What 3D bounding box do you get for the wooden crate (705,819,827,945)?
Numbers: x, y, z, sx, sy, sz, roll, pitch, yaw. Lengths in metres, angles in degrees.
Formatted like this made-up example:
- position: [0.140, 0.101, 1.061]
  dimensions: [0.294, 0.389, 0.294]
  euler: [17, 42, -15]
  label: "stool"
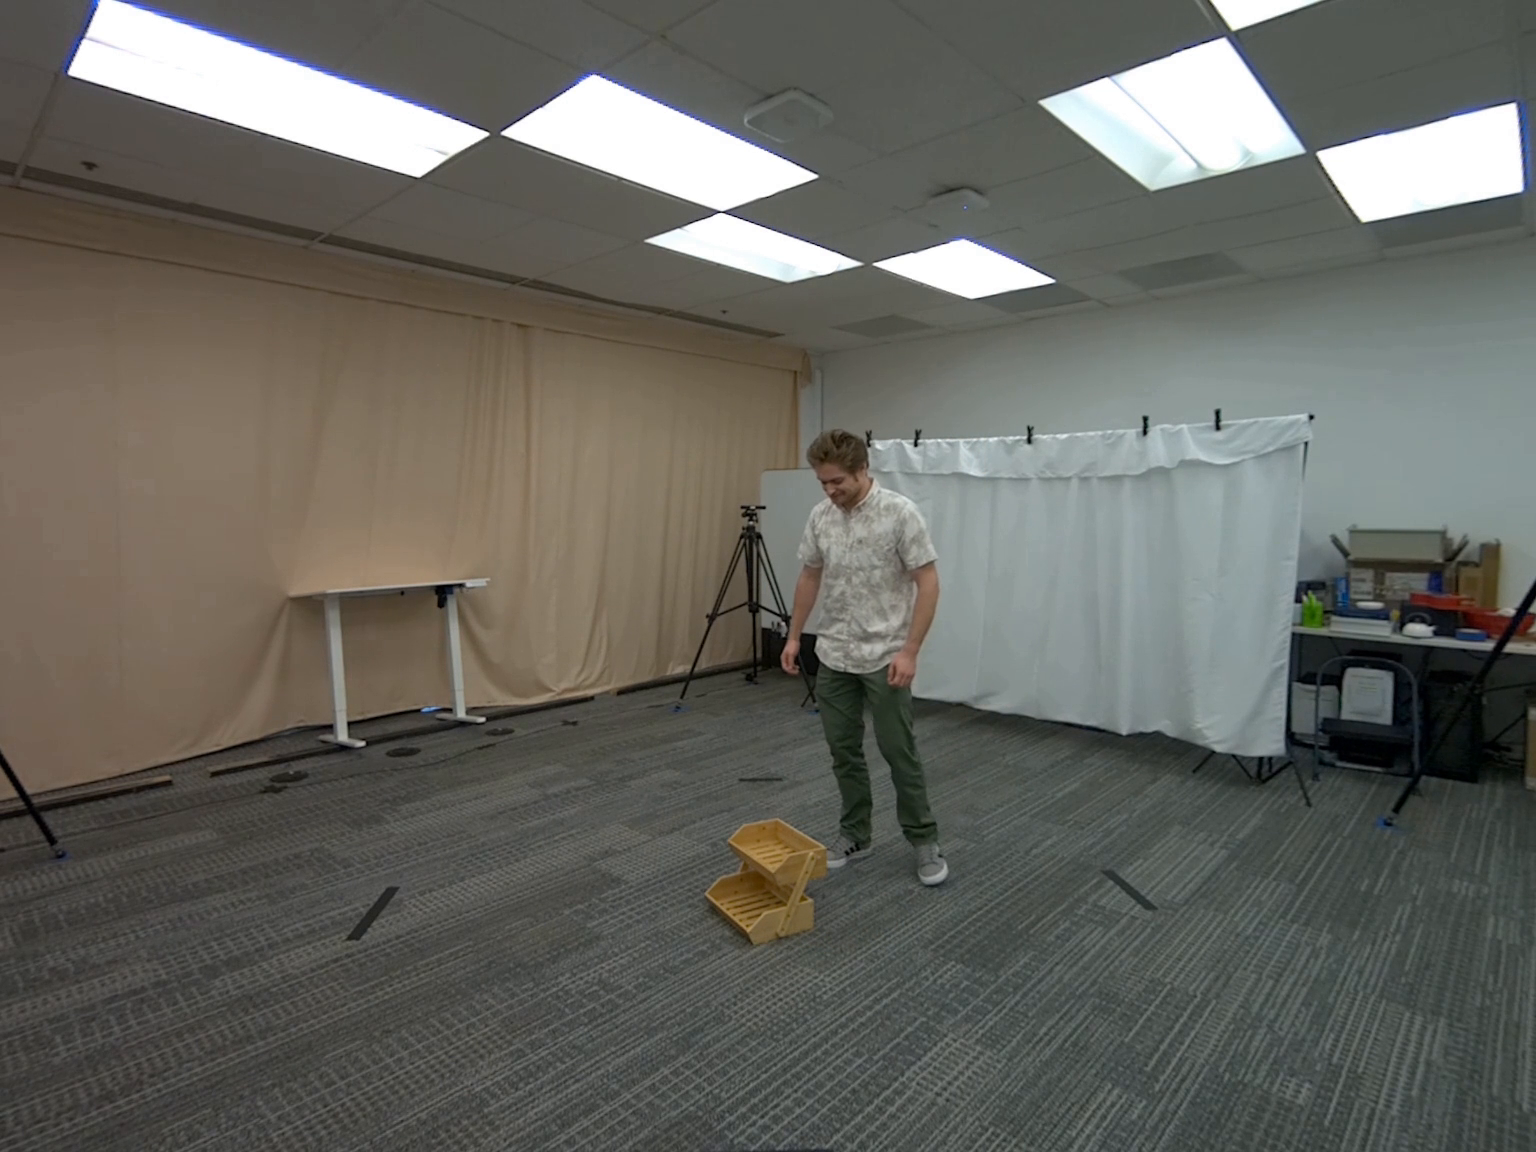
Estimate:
- position: [-0.012, 1.021, 2.853]
  dimensions: [0.294, 0.273, 0.334]
  euler: [-2, 4, -31]
  label: "wooden crate"
